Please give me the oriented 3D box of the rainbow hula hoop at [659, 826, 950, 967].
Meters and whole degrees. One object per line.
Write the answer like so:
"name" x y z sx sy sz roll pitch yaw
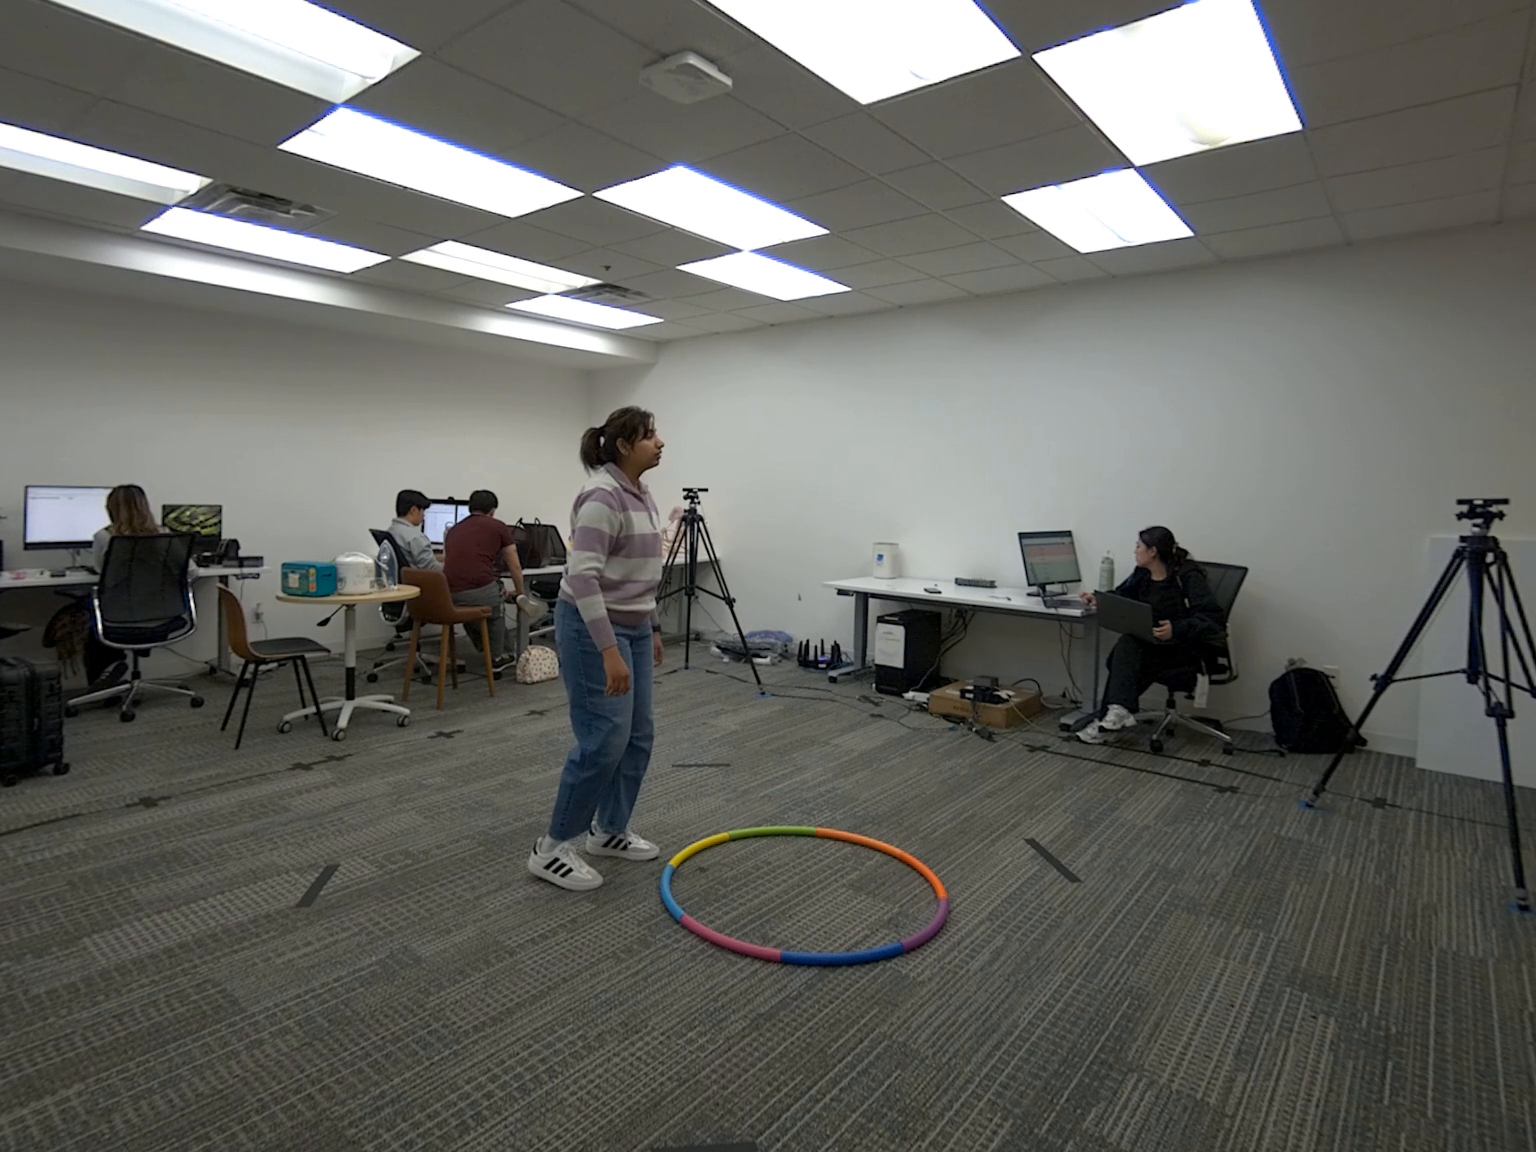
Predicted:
"rainbow hula hoop" 0.107 1.056 2.971 0.978 0.035 0.985 1 6 -2
